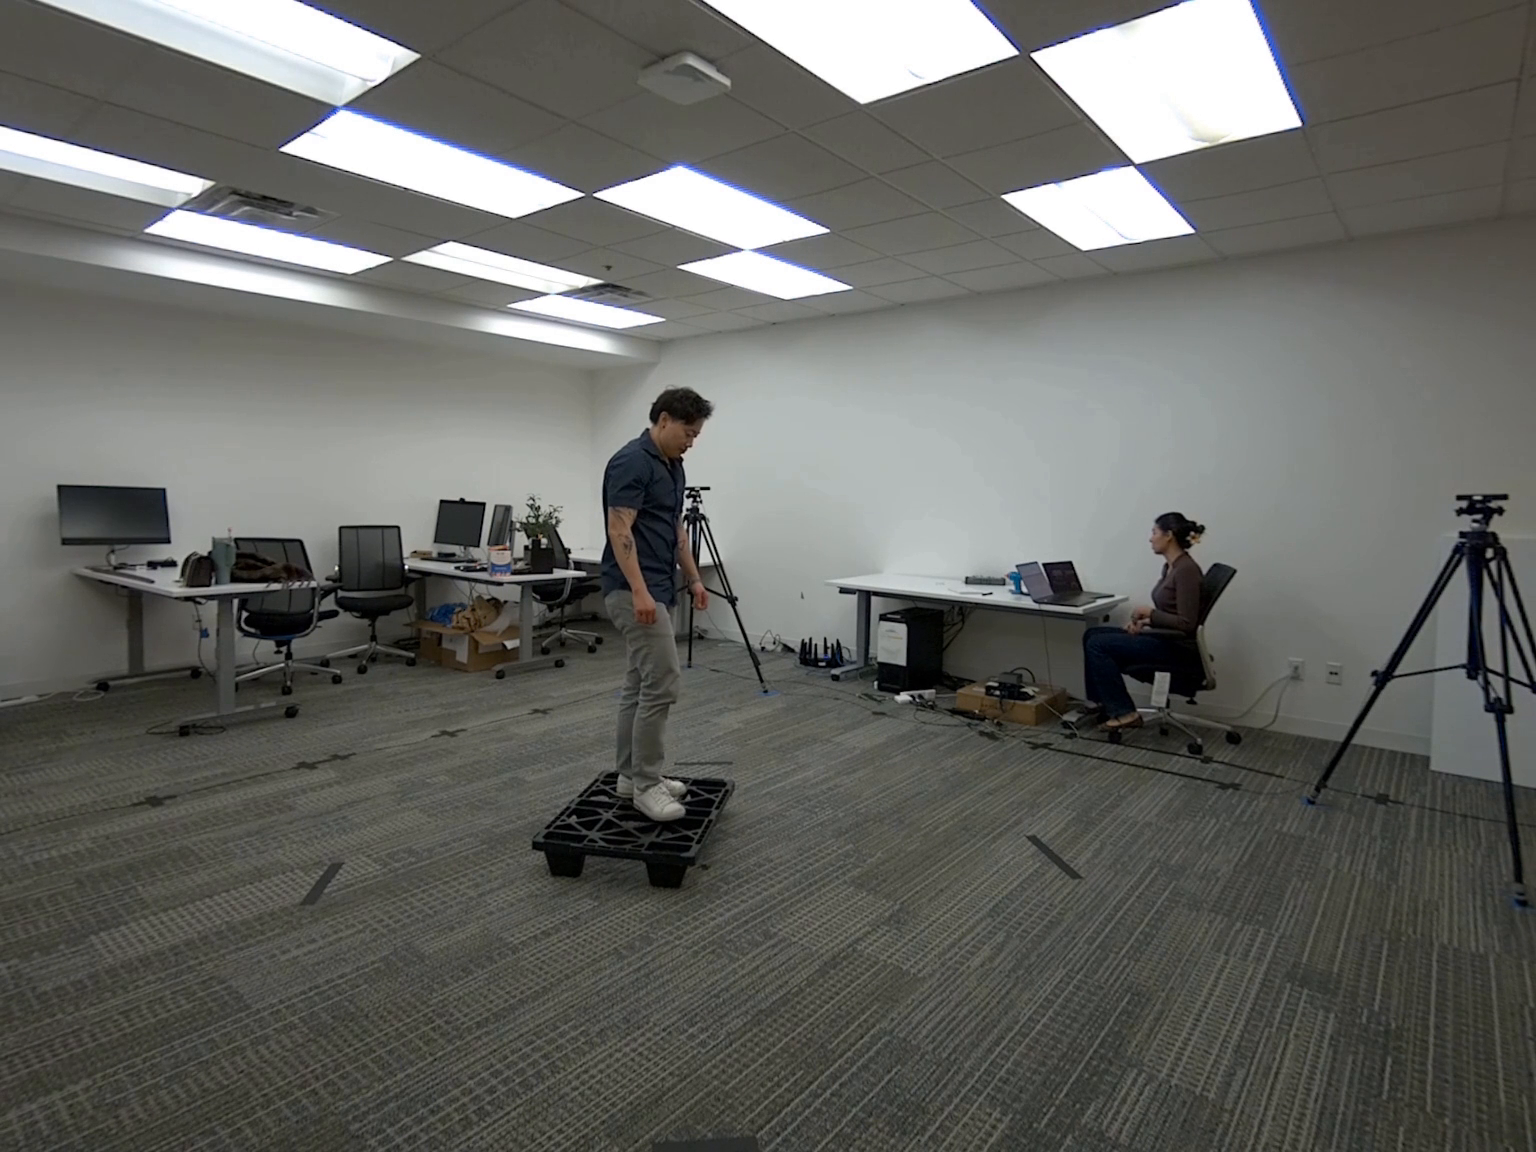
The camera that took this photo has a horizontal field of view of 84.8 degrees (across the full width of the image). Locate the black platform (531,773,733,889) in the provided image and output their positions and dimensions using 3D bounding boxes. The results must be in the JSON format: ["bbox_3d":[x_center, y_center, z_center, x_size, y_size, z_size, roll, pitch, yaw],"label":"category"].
[{"bbox_3d":[-0.503,0.971,3.334,0.612,0.143,0.799,1,5,9],"label":"black platform"}]
